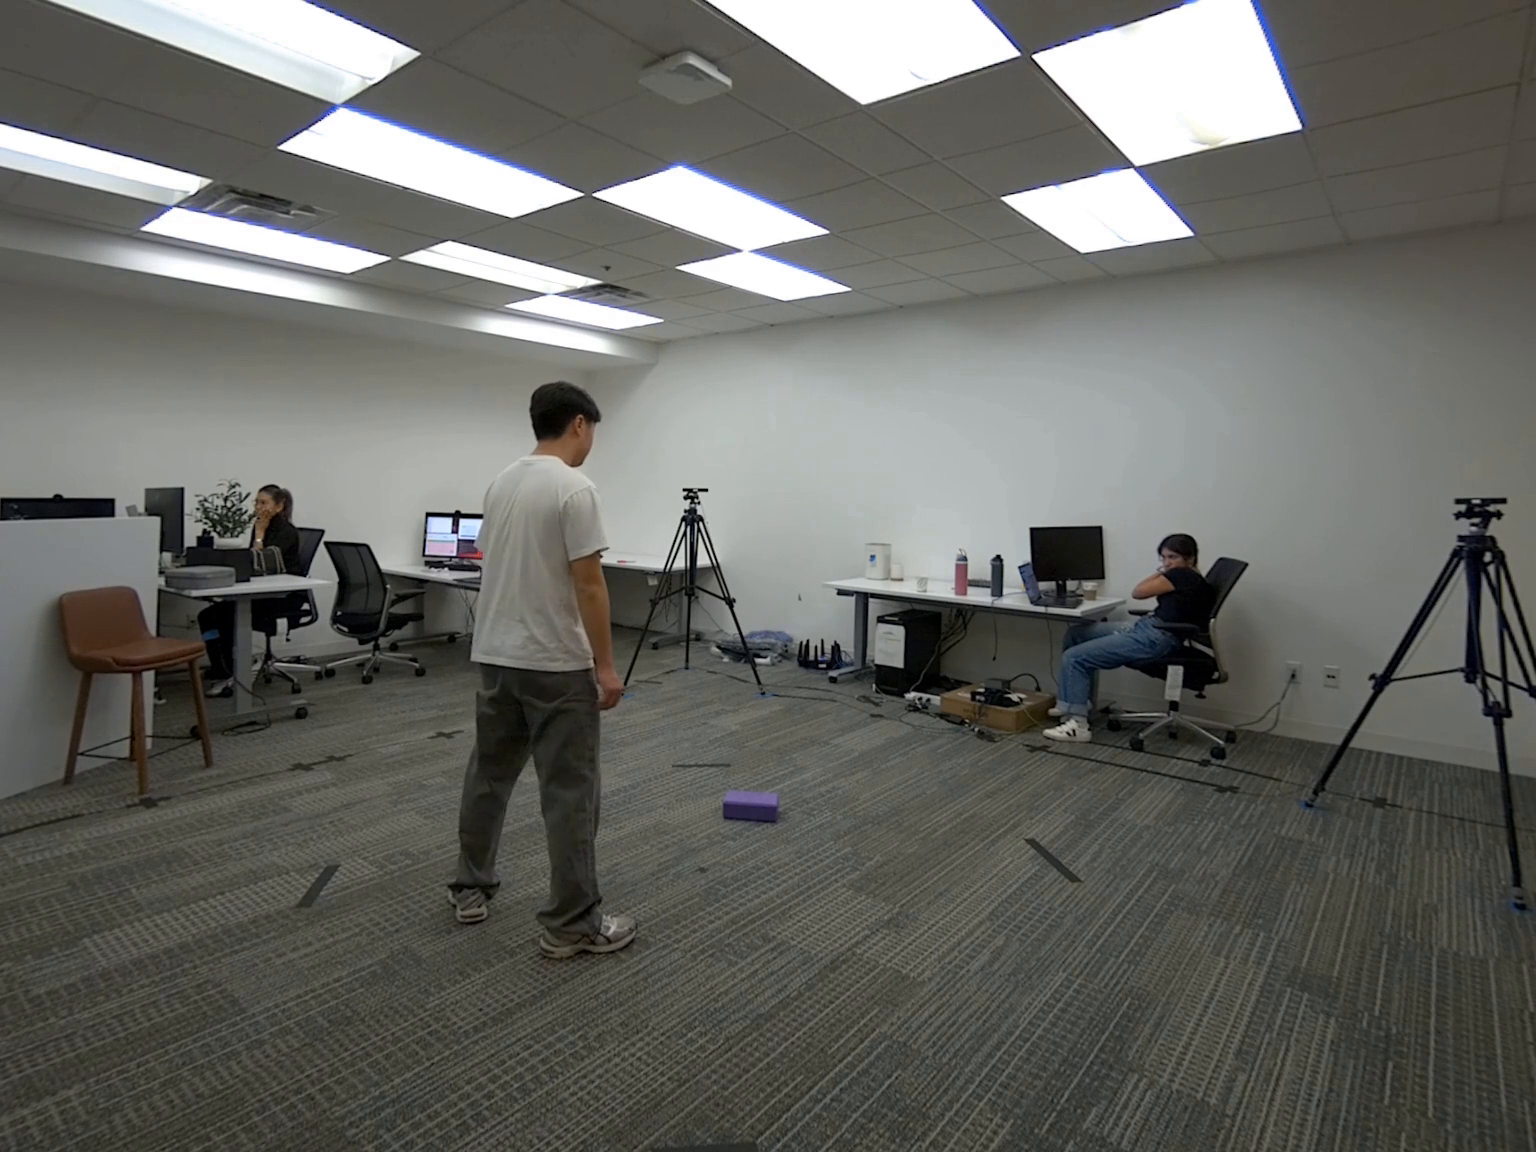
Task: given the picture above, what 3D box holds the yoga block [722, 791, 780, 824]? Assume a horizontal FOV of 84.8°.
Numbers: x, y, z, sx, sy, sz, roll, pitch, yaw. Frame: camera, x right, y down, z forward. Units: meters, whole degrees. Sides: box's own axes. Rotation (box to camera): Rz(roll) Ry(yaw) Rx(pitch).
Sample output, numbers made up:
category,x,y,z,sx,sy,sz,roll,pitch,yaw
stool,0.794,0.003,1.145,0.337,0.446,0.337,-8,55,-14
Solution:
category,x,y,z,sx,sy,sz,roll,pitch,yaw
yoga block,-0.071,0.974,3.646,0.232,0.076,0.148,1,6,9
